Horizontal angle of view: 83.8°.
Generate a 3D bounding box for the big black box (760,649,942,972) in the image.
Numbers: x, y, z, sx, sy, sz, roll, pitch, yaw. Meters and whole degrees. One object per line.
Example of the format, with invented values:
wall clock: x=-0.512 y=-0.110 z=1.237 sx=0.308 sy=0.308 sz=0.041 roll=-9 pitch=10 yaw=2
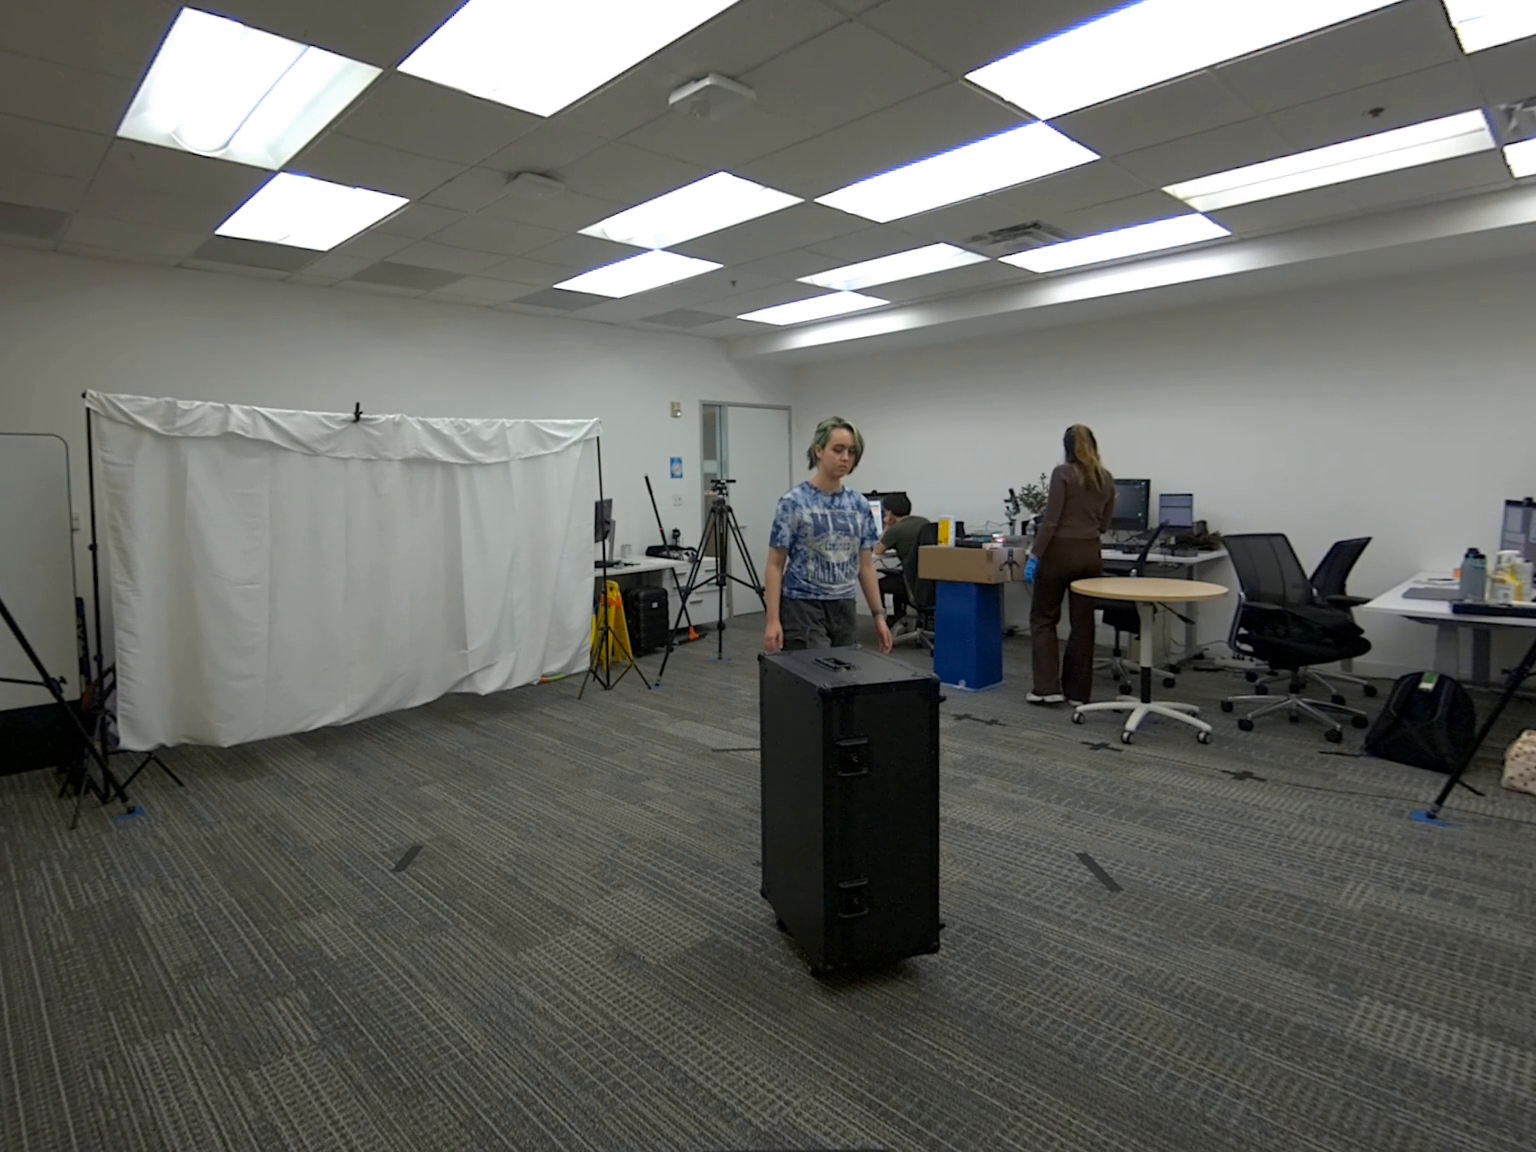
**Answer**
big black box: x=0.232 y=0.688 z=2.542 sx=0.389 sy=0.858 sz=0.532 roll=-2 pitch=5 yaw=-20
